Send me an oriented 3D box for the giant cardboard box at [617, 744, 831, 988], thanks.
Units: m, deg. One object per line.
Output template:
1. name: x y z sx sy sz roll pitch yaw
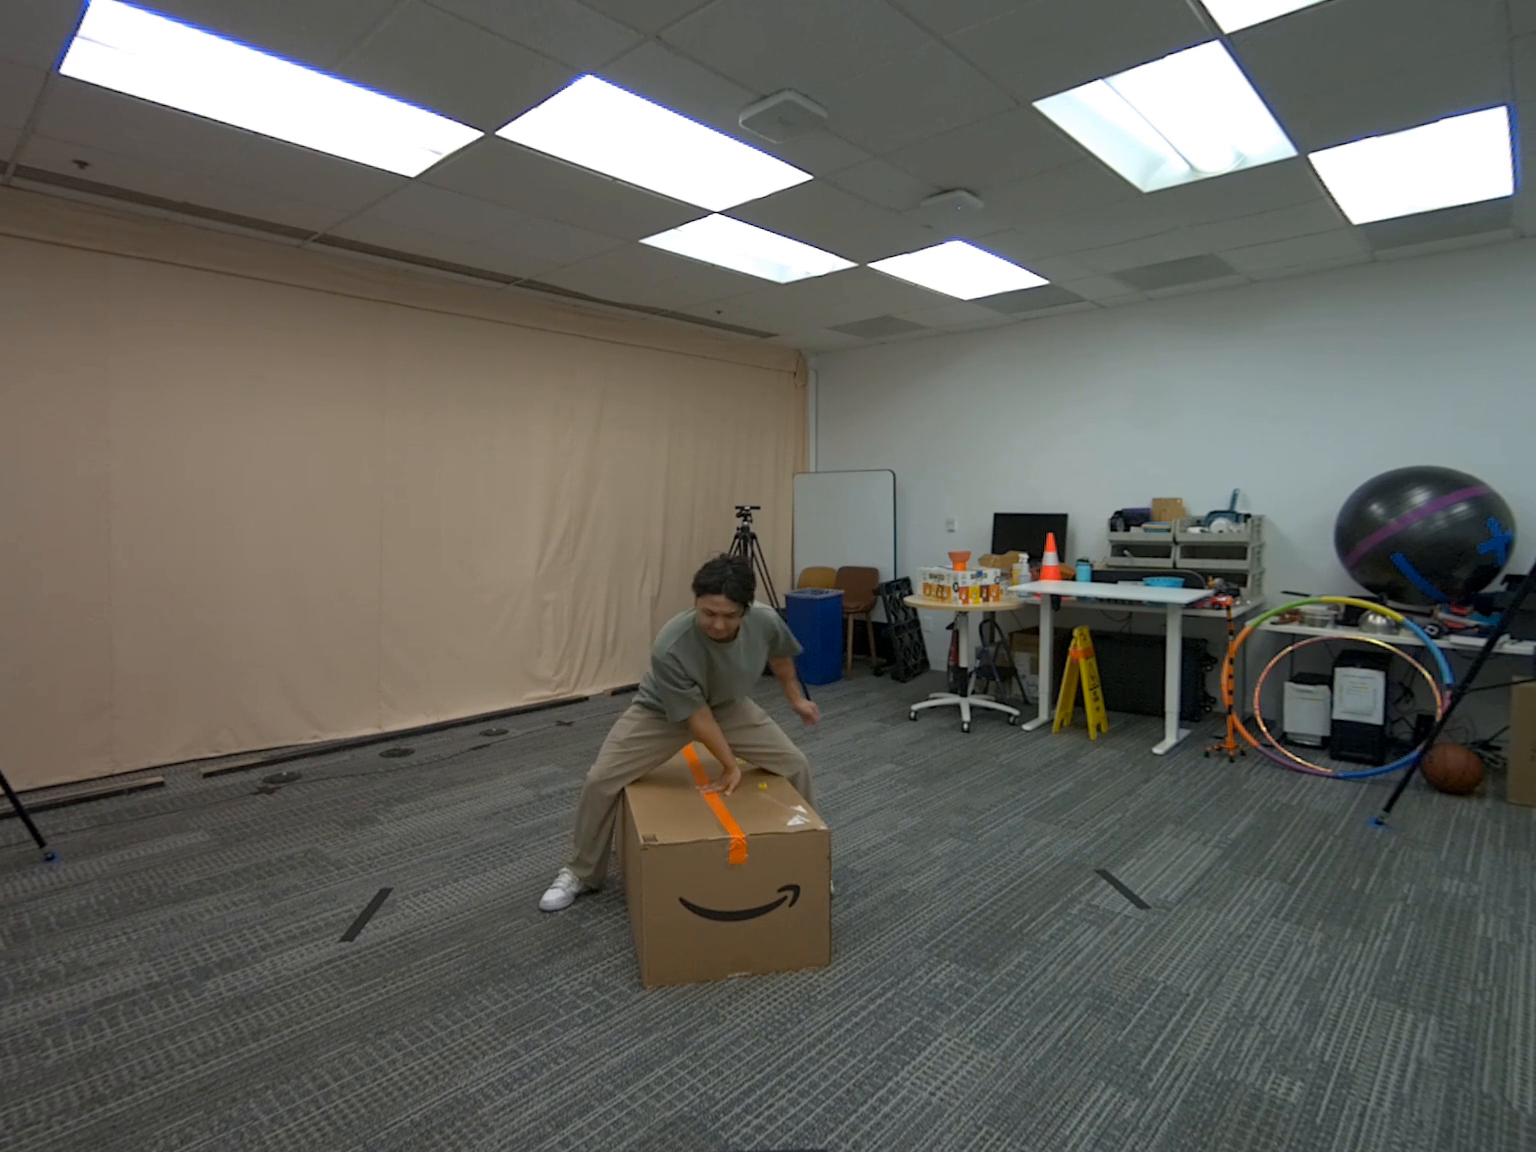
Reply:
1. giant cardboard box: -0.214 0.939 2.974 0.570 0.425 1.042 -1 4 -14
